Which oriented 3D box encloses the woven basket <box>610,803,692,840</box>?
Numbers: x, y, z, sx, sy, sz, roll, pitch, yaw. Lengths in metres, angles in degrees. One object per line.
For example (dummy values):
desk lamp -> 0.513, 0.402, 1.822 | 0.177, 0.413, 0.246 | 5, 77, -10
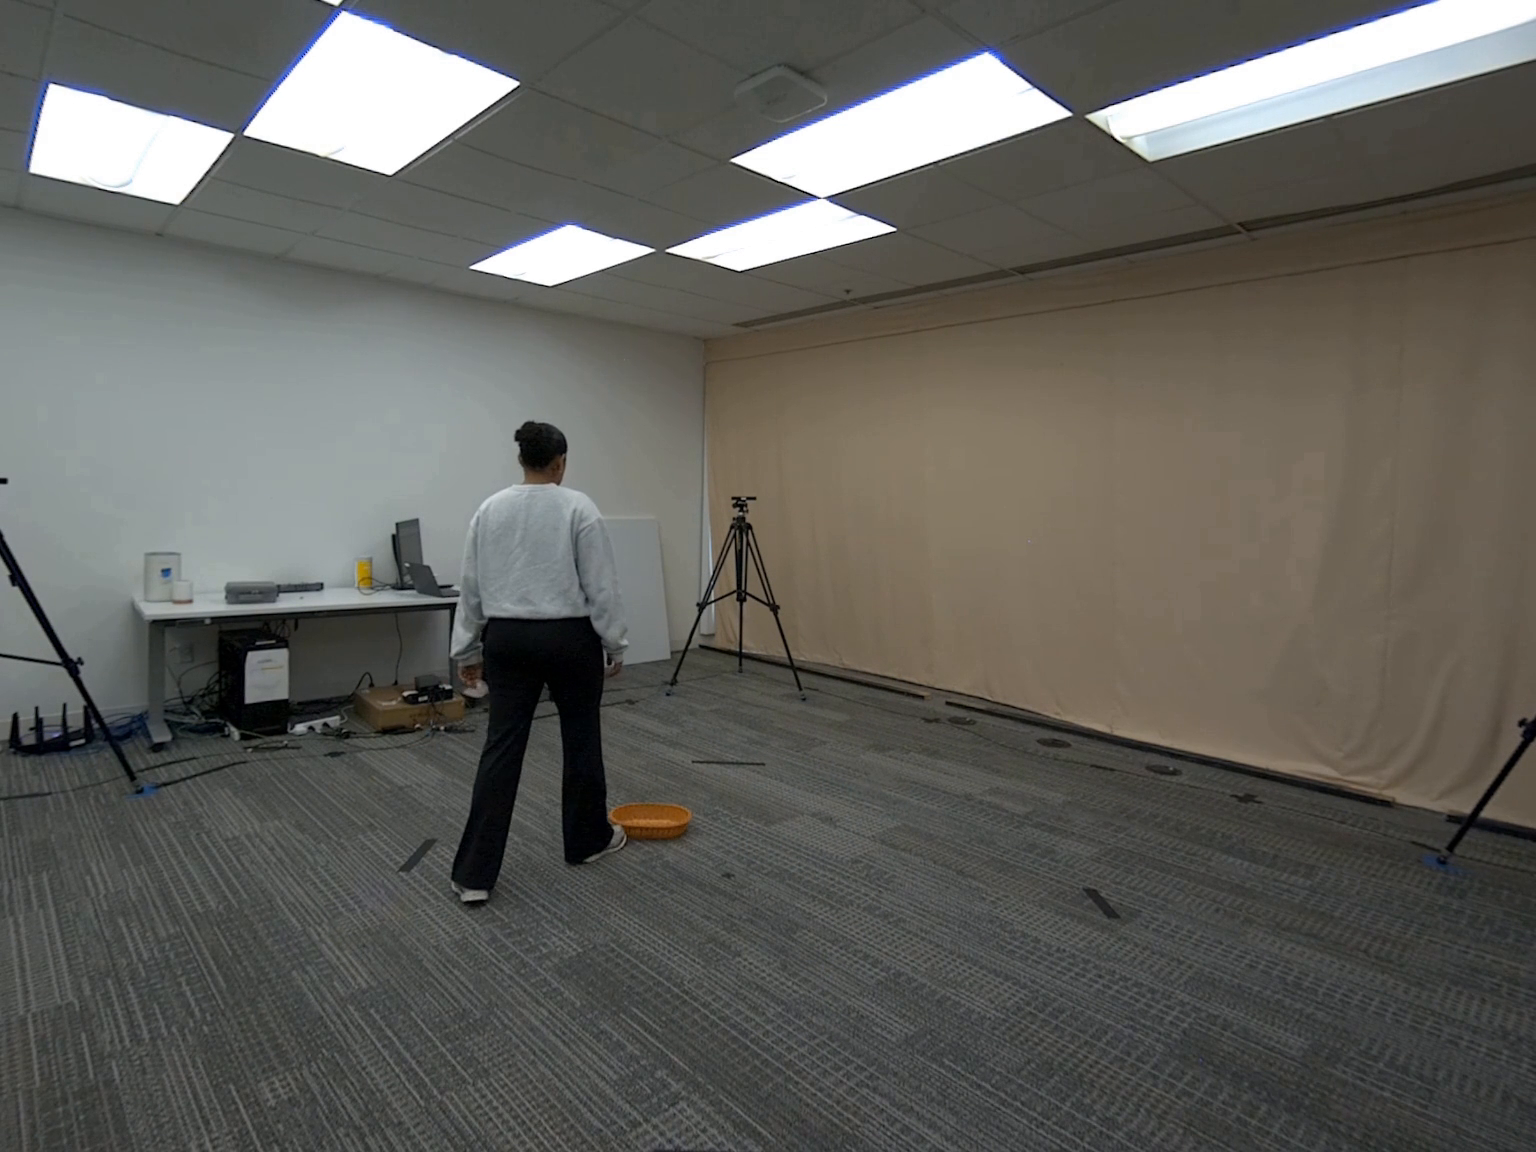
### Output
woven basket -> -0.497, 1.020, 3.505 | 0.351, 0.073, 0.253 | 2, 6, 1
